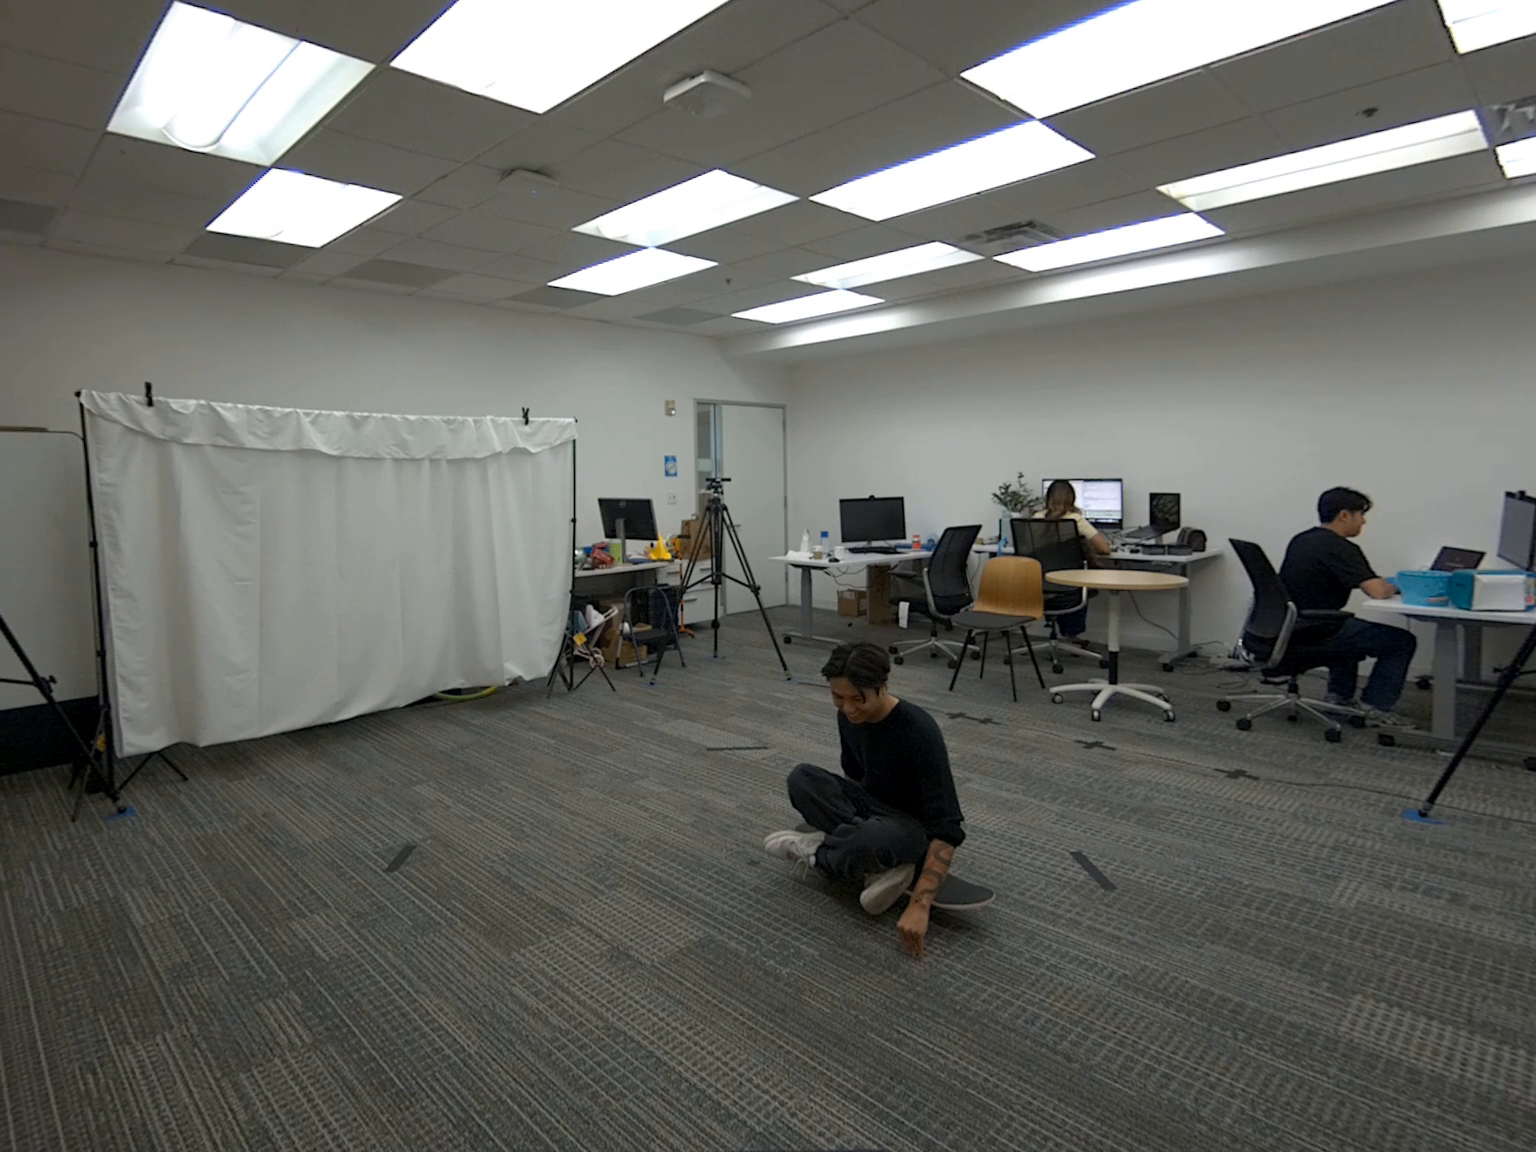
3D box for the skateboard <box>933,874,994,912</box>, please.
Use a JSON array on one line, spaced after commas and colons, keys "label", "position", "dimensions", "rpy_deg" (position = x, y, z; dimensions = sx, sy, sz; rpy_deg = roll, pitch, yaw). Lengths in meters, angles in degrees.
[{"label": "skateboard", "position": [0.397, 1.014, 2.884], "dimensions": [0.188, 0.110, 0.810], "rpy_deg": [-6, 9, -42]}]
